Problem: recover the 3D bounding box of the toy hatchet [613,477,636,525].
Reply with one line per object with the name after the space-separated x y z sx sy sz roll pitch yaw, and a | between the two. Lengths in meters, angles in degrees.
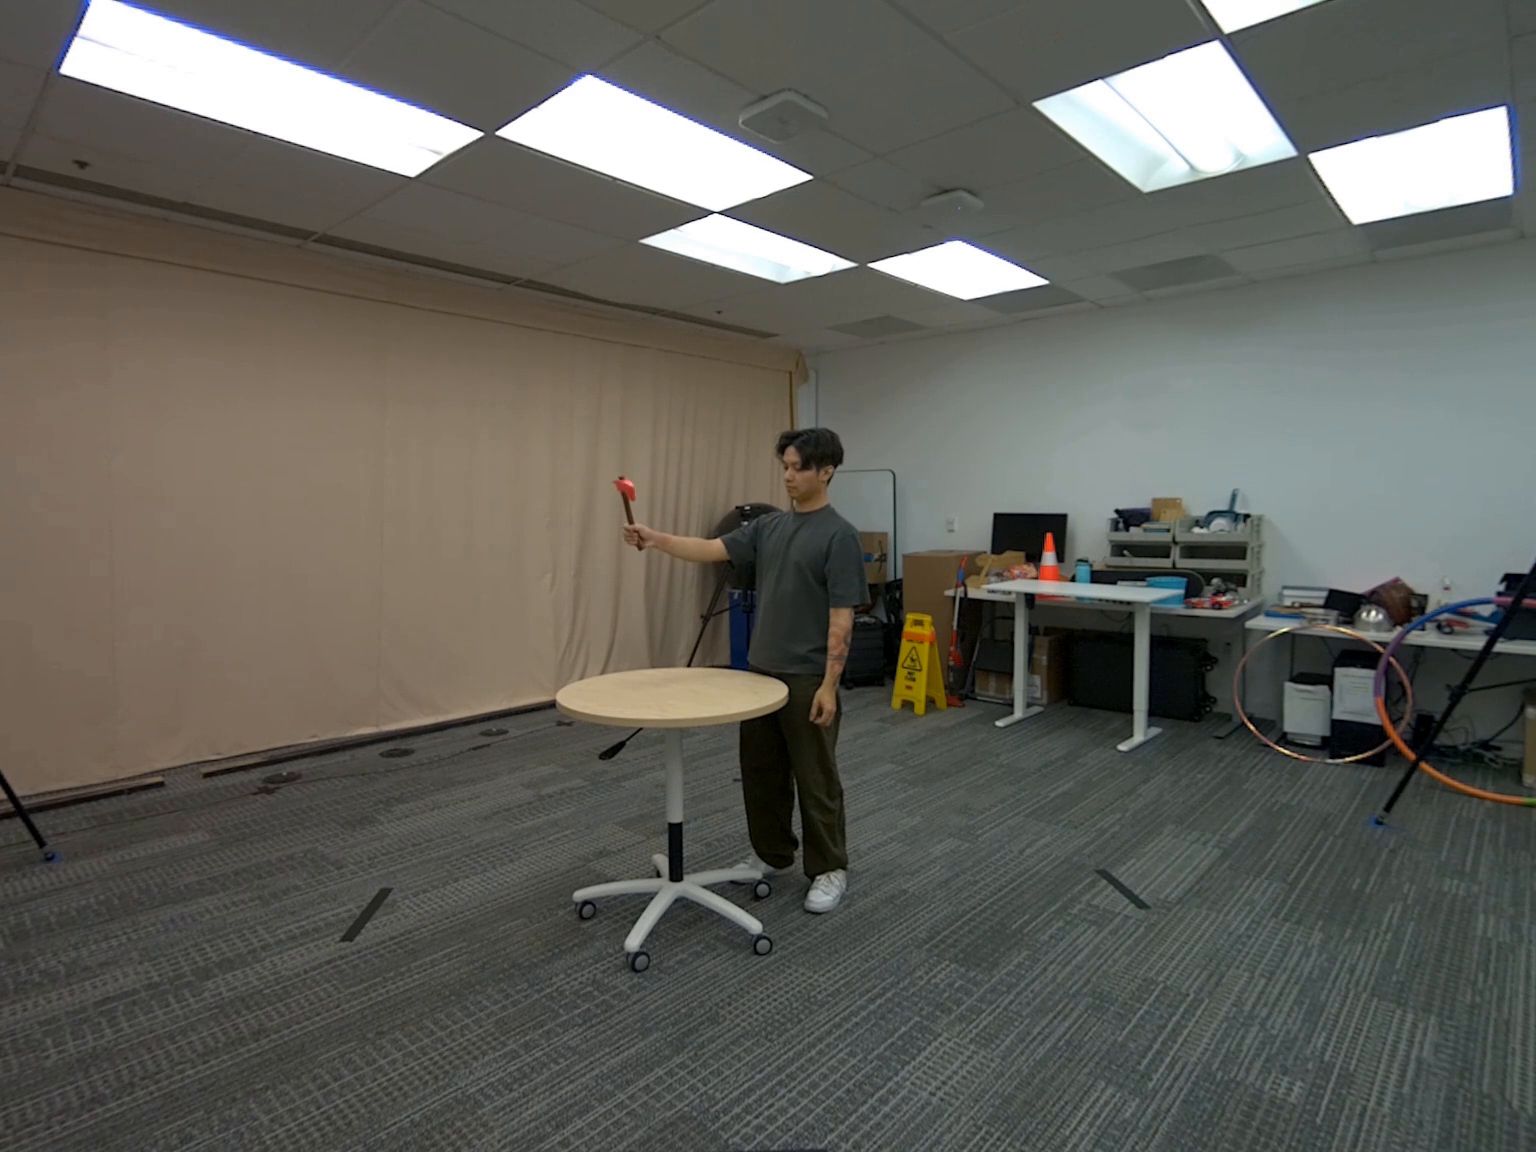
-0.458 -0.198 2.923 0.029 0.268 0.134 -26 8 -34 | toy hatchet
